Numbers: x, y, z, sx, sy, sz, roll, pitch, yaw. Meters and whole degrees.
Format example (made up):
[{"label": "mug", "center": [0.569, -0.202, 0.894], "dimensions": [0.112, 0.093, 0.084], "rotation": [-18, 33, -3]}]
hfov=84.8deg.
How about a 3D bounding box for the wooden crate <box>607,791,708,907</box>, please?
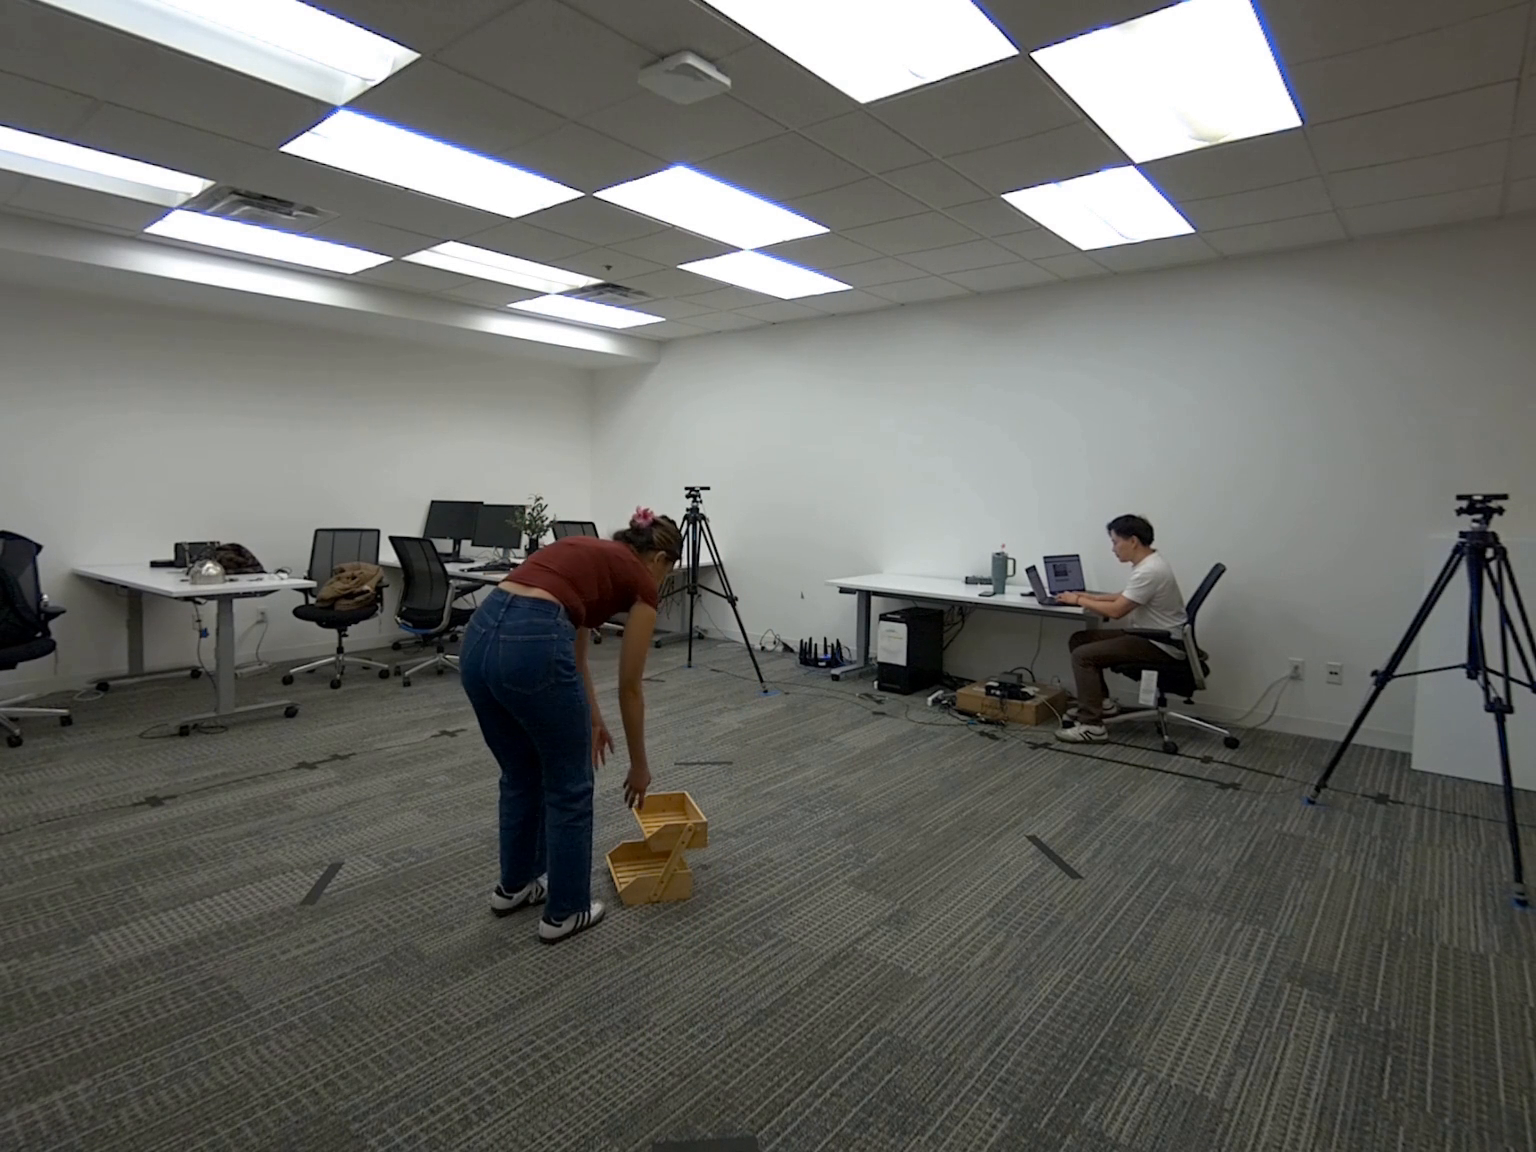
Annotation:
[{"label": "wooden crate", "center": [-0.411, 0.940, 2.989], "dimensions": [0.296, 0.272, 0.331], "rotation": [-1, 4, -19]}]
